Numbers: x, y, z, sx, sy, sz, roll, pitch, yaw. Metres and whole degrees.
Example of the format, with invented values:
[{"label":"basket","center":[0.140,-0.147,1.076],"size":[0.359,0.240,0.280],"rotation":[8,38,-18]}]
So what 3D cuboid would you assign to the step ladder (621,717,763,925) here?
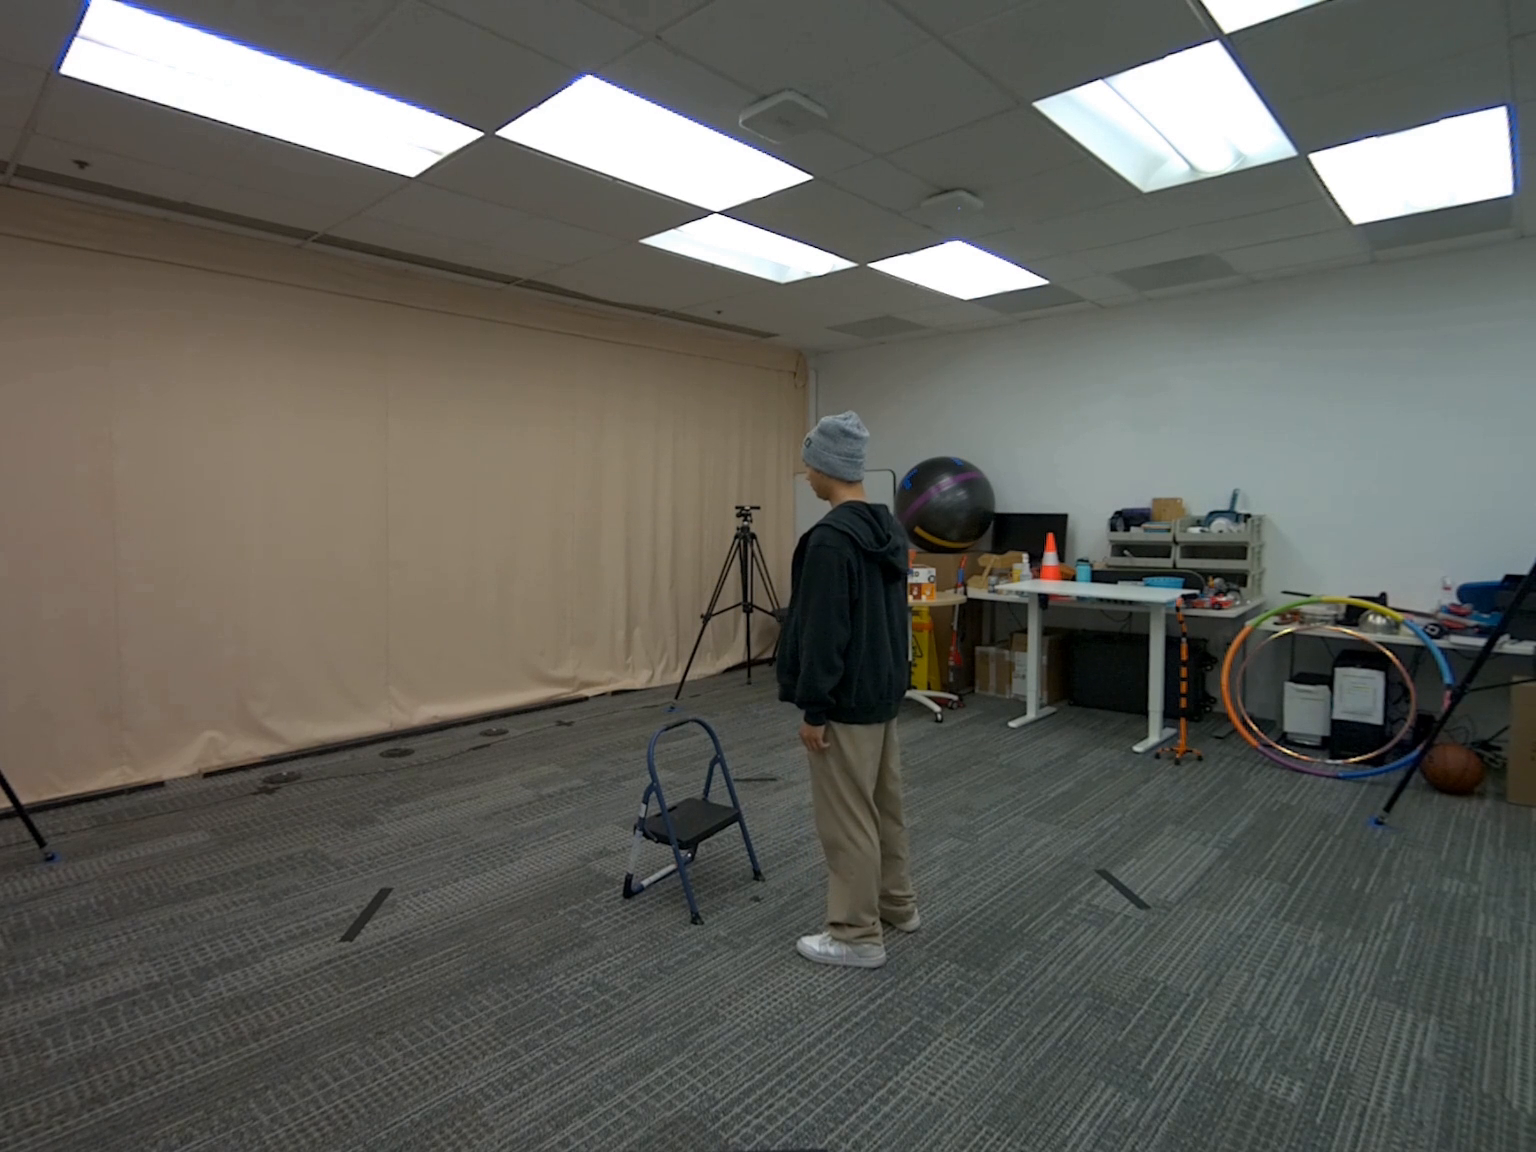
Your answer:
[{"label":"step ladder","center":[-0.267,0.837,3.053],"size":[0.360,0.605,0.419],"rotation":[2,4,32]}]
